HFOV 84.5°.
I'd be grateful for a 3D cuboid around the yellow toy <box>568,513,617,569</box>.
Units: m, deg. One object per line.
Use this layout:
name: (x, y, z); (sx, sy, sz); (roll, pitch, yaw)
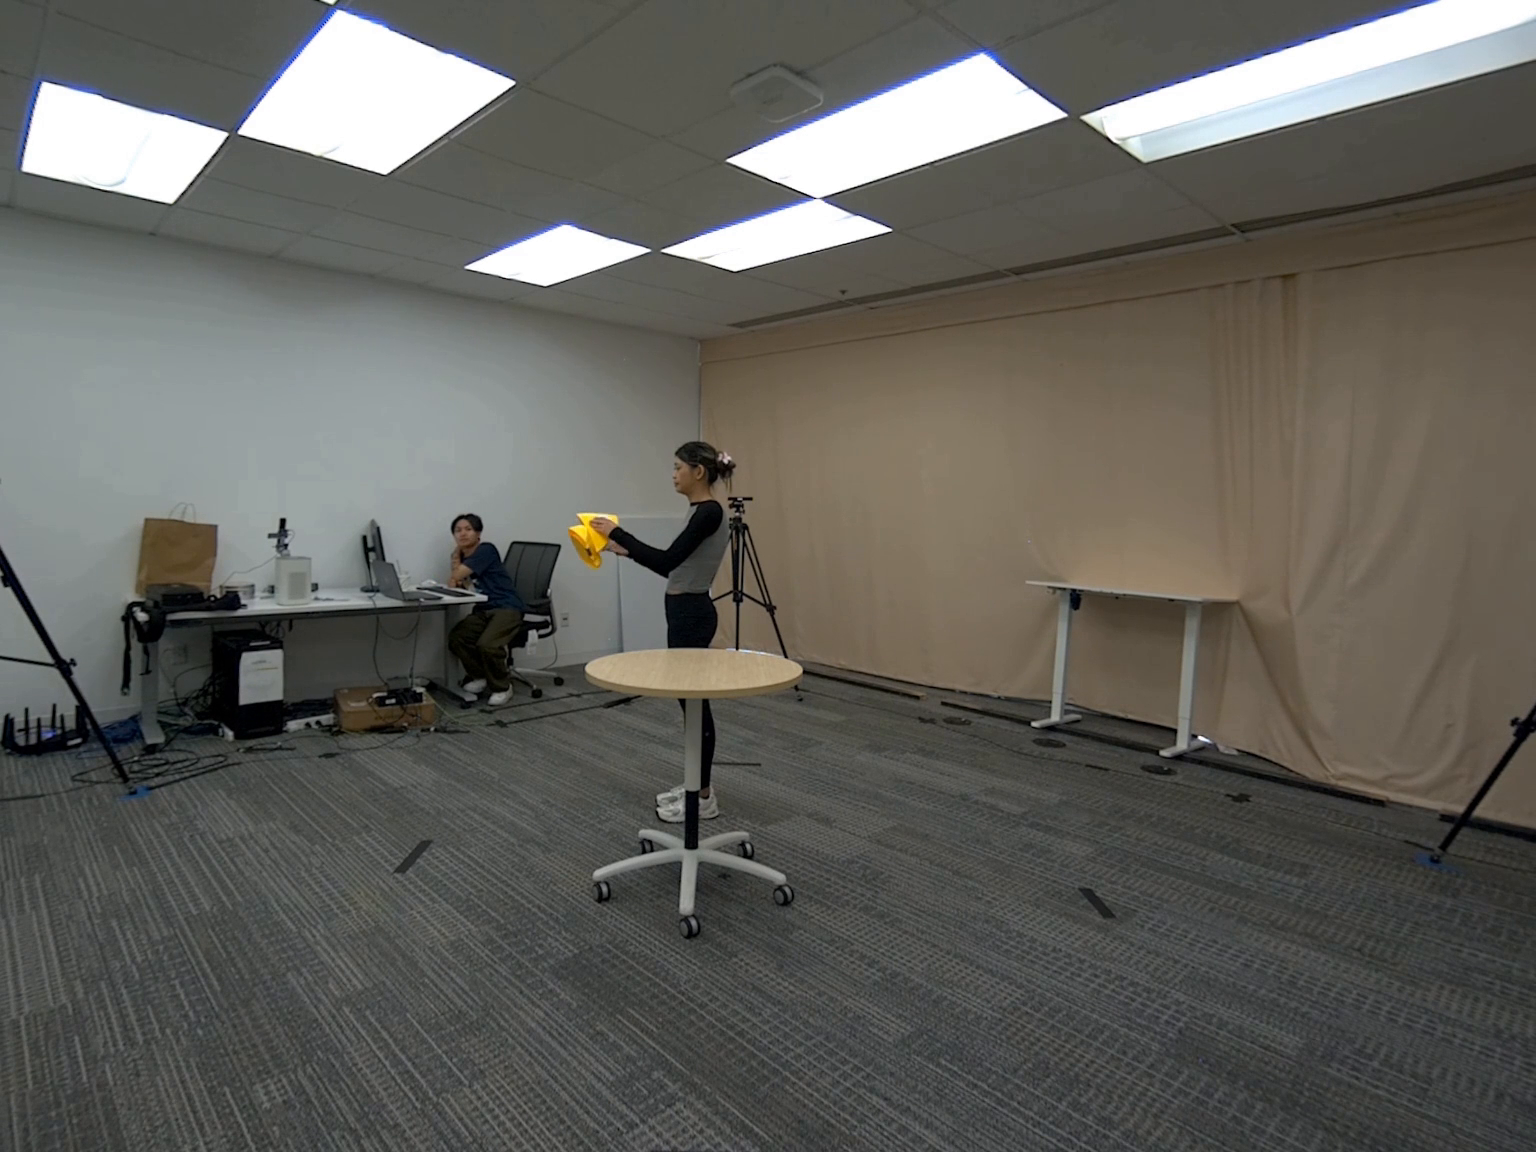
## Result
yellow toy: (-0.712, -0.183, 3.616); (0.230, 0.199, 0.199); (-38, 38, -24)
